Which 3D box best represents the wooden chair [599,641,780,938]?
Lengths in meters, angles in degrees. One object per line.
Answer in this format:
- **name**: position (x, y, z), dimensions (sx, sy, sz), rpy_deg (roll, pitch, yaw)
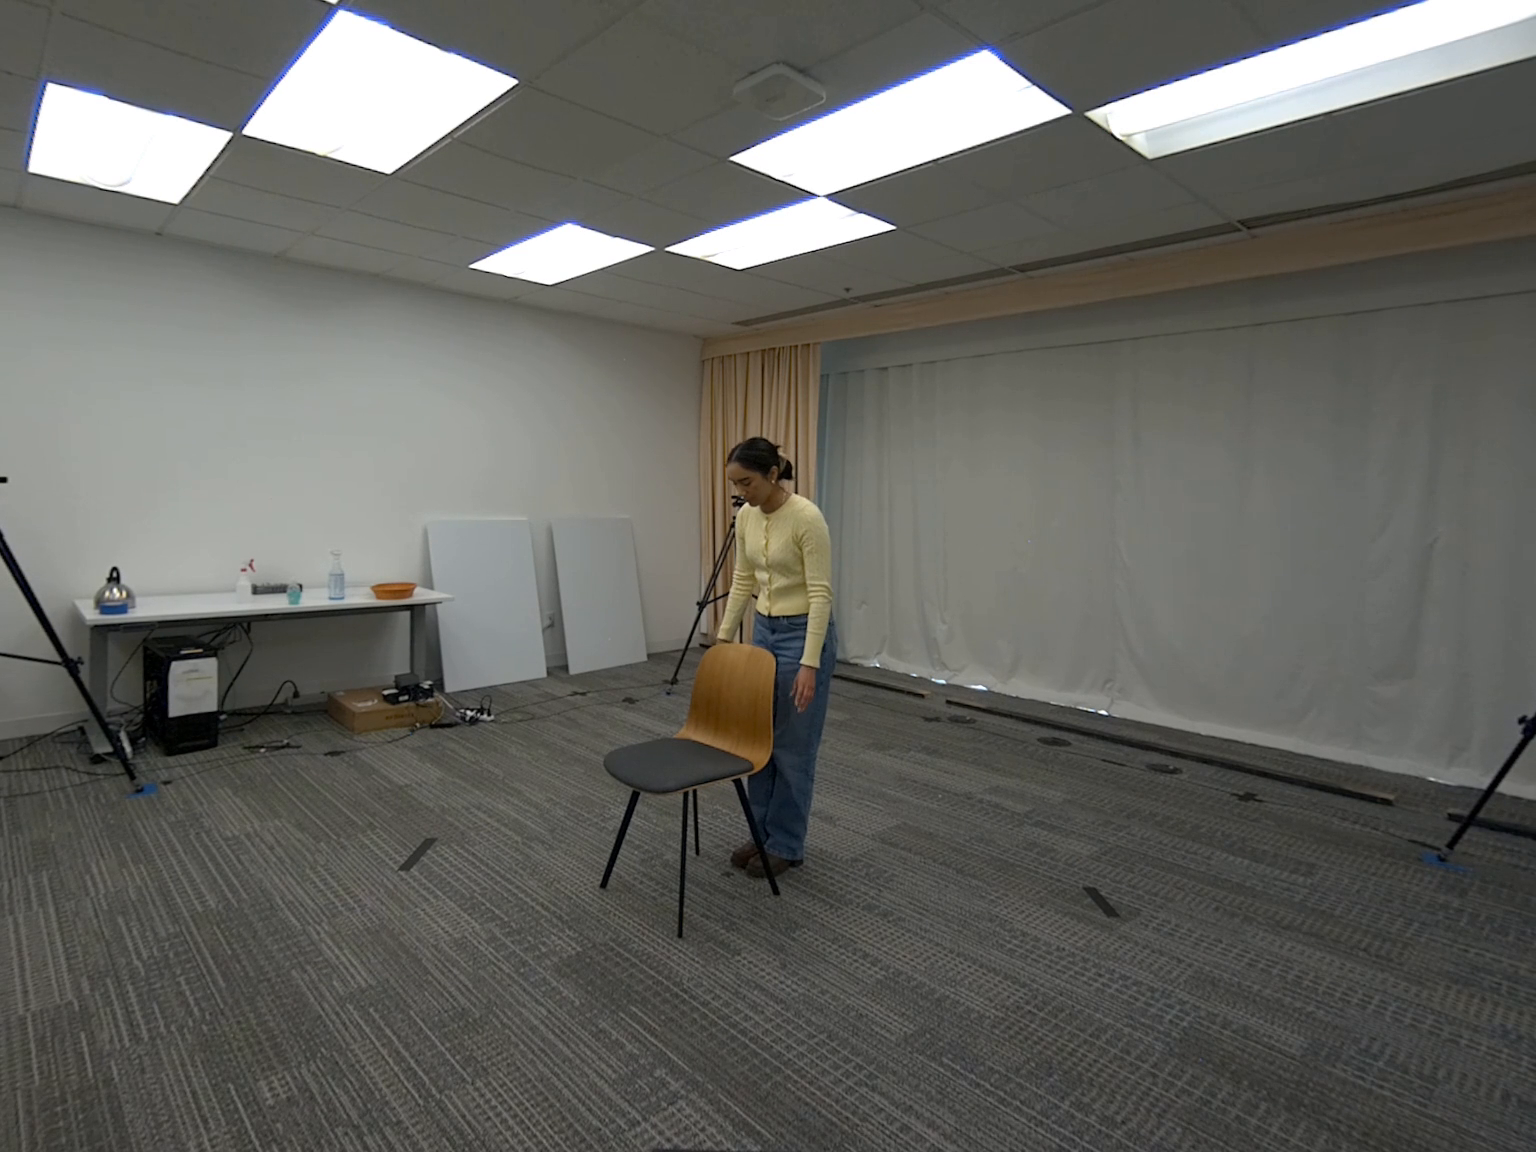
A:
- **wooden chair**: position (-0.273, 0.685, 2.923), dimensions (0.510, 0.877, 0.490), rpy_deg (5, 0, -44)
